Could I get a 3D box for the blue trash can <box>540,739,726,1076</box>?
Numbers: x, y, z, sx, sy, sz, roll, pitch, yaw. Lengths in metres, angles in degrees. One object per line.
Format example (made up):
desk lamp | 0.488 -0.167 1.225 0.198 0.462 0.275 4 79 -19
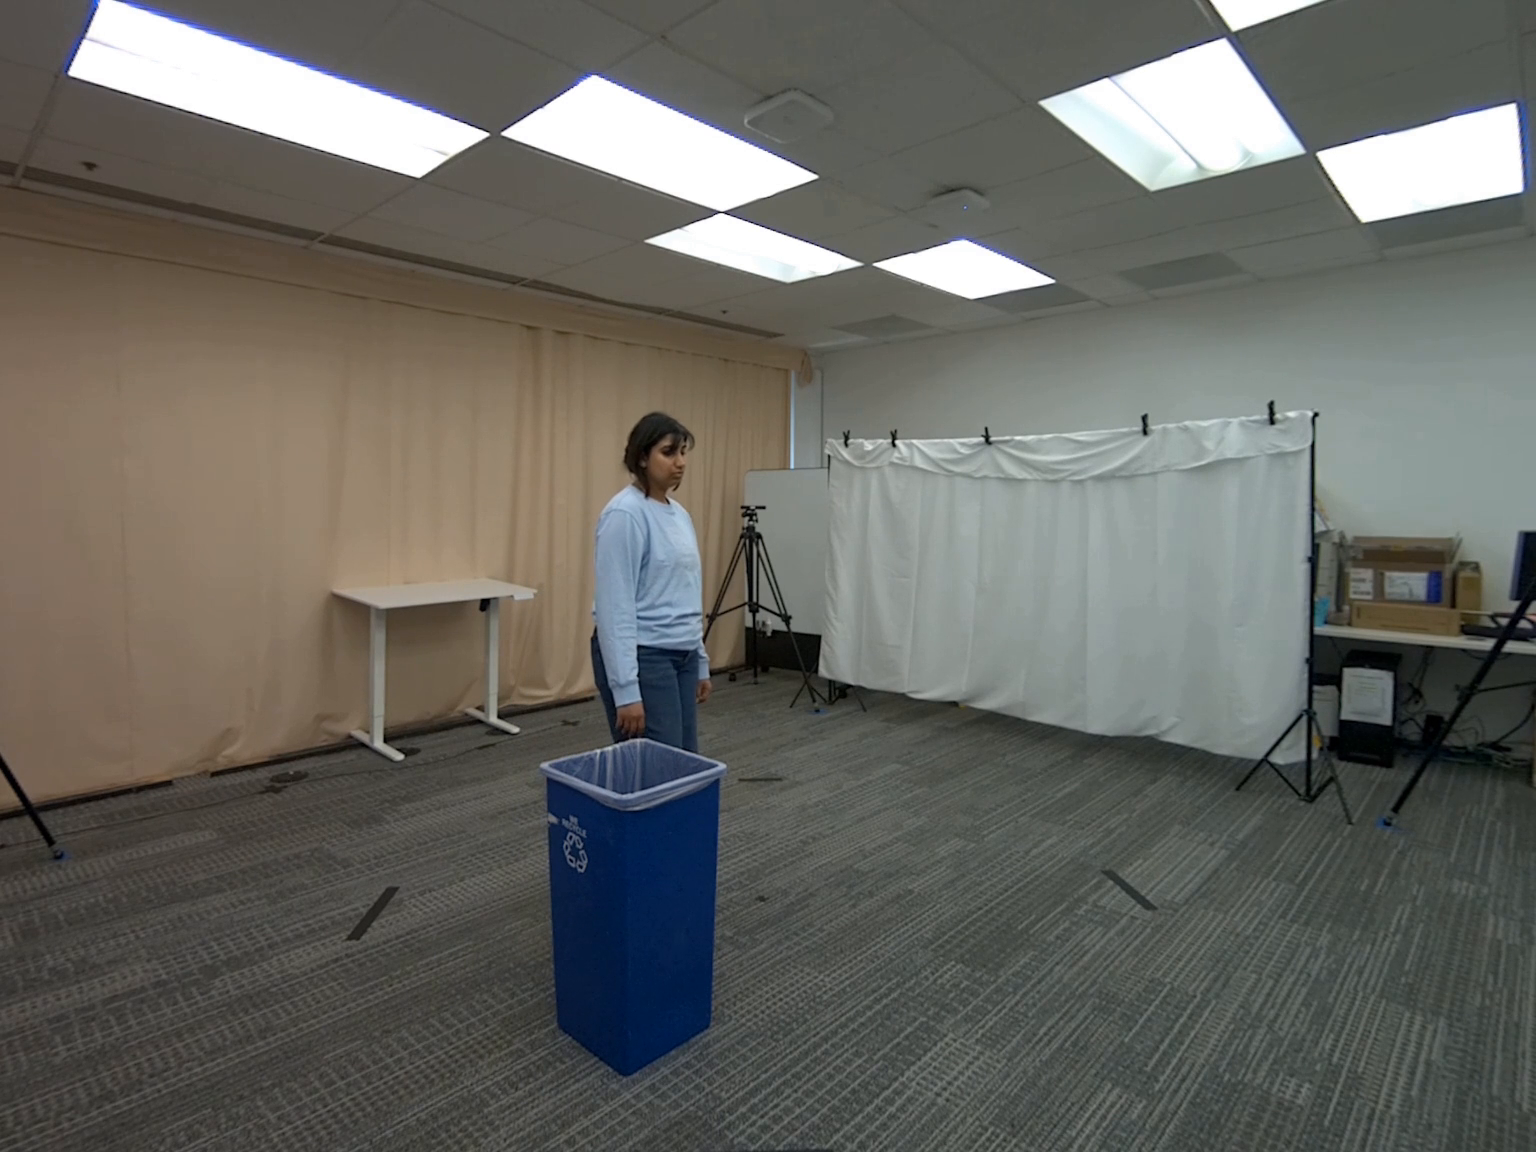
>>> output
blue trash can | -0.347 0.851 2.233 0.386 0.712 0.366 4 6 44
